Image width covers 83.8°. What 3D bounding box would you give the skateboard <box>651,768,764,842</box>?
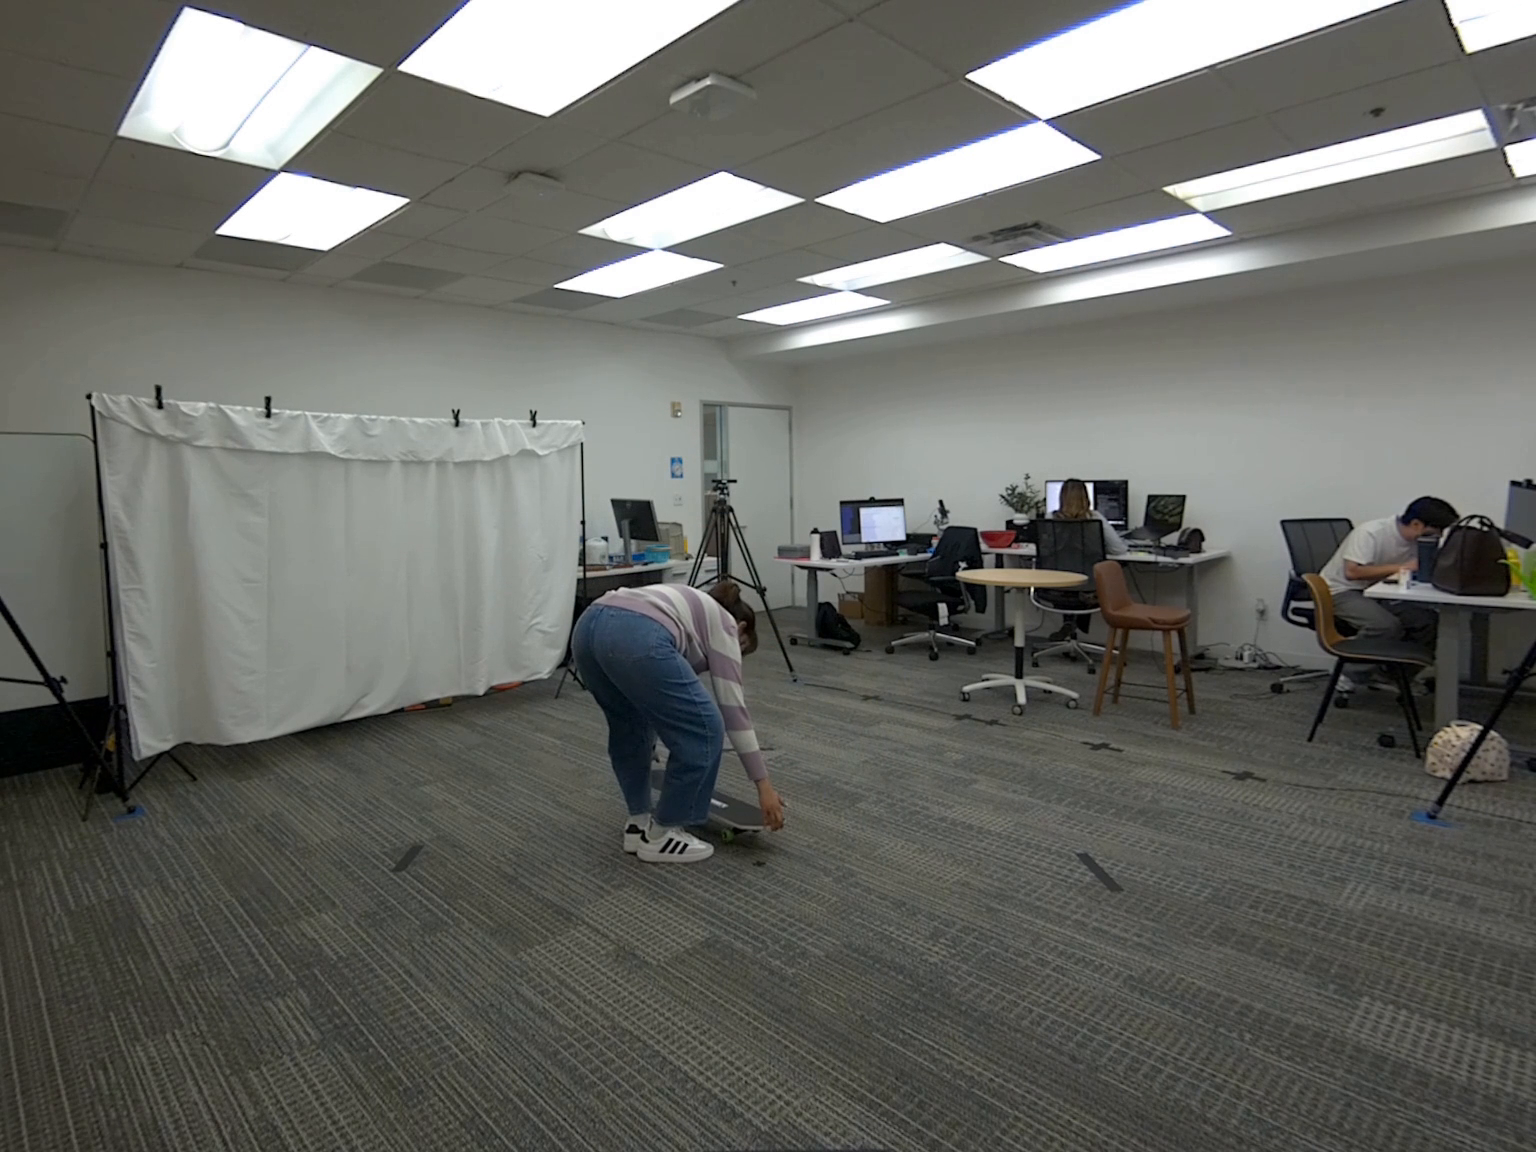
[{"bbox_3d":[-0.236,0.937,3.454,0.188,0.110,0.810,-3,6,-43],"label":"skateboard"}]
